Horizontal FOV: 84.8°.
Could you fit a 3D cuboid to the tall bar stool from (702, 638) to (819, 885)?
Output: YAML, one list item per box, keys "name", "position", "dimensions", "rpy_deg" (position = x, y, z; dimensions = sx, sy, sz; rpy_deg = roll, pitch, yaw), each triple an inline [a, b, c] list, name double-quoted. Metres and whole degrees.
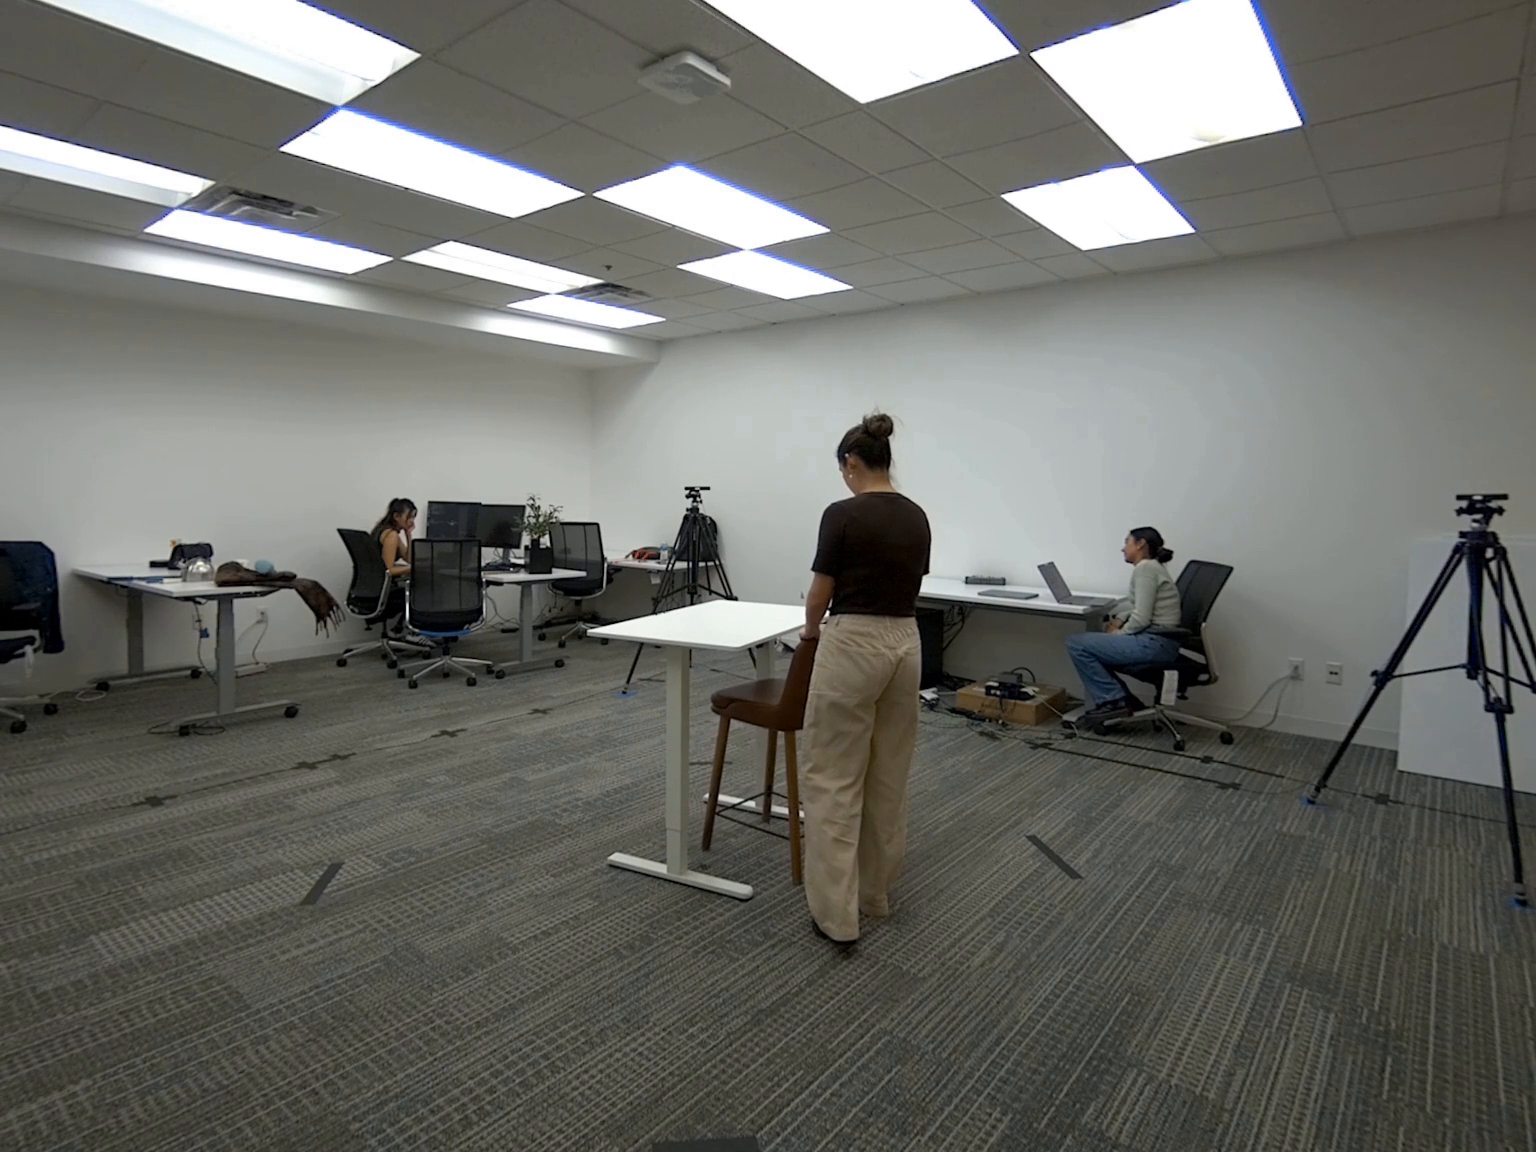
- name: "tall bar stool"
  position: [0.053, 0.622, 3.241]
  dimensions: [0.484, 0.887, 0.442]
  rpy_deg: [7, 5, 40]
